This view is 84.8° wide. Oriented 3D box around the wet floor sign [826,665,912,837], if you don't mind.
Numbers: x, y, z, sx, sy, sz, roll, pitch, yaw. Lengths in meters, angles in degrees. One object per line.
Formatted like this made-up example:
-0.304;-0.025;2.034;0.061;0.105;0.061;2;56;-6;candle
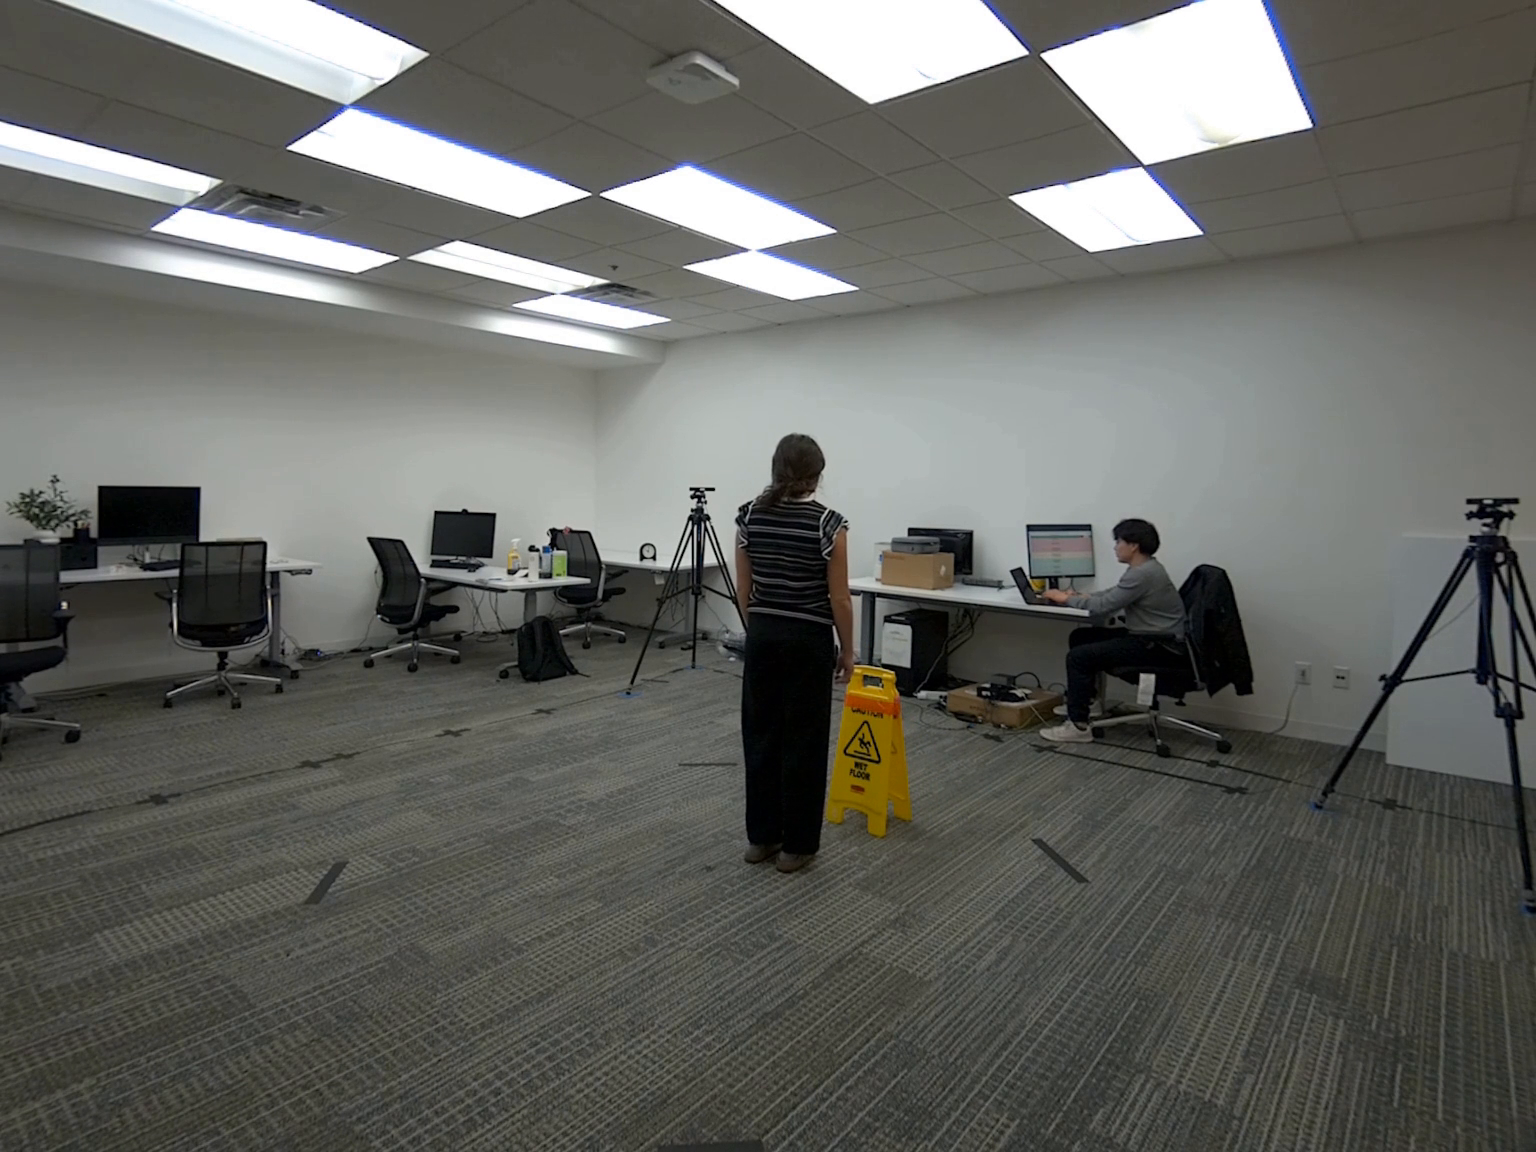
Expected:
0.430;0.709;3.596;0.292;0.644;0.281;5;3;37;wet floor sign
